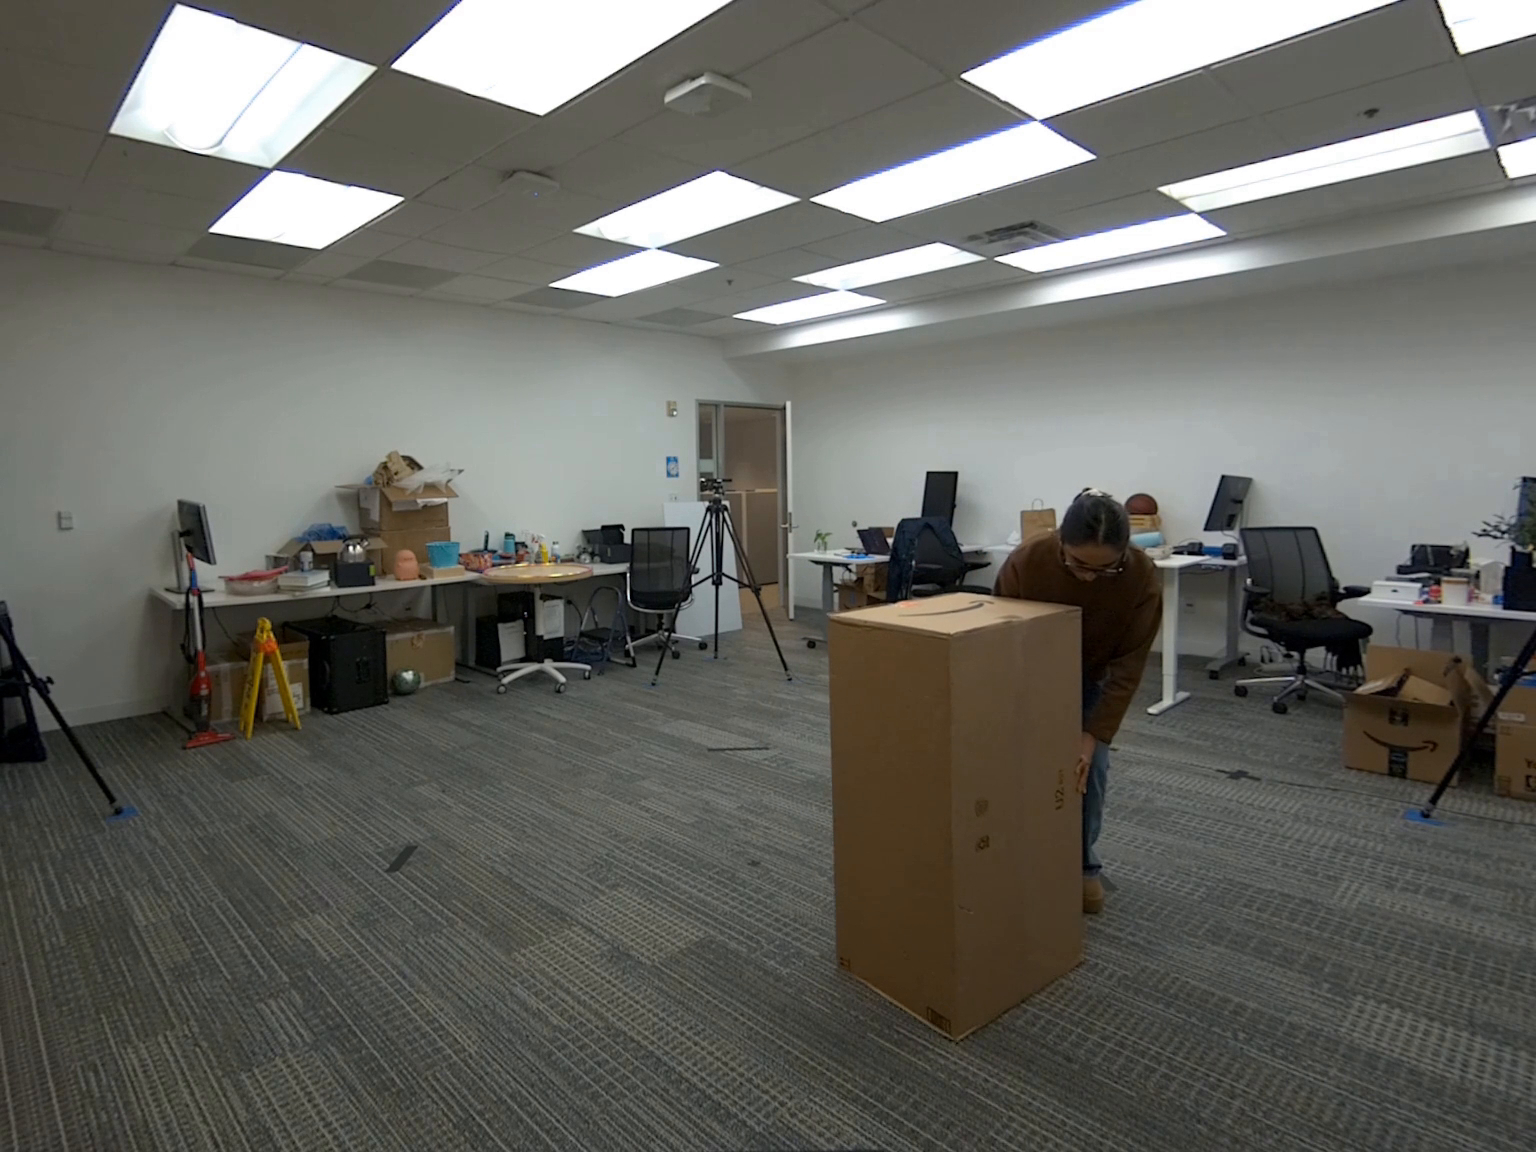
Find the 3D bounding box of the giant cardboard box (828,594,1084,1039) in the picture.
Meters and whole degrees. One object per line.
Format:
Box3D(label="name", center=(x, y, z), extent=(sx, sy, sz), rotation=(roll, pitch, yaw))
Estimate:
Box3D(label="giant cardboard box", center=(0.531, 0.605, 2.404), extent=(0.563, 1.022, 0.439), rotation=(-5, 6, -38))
